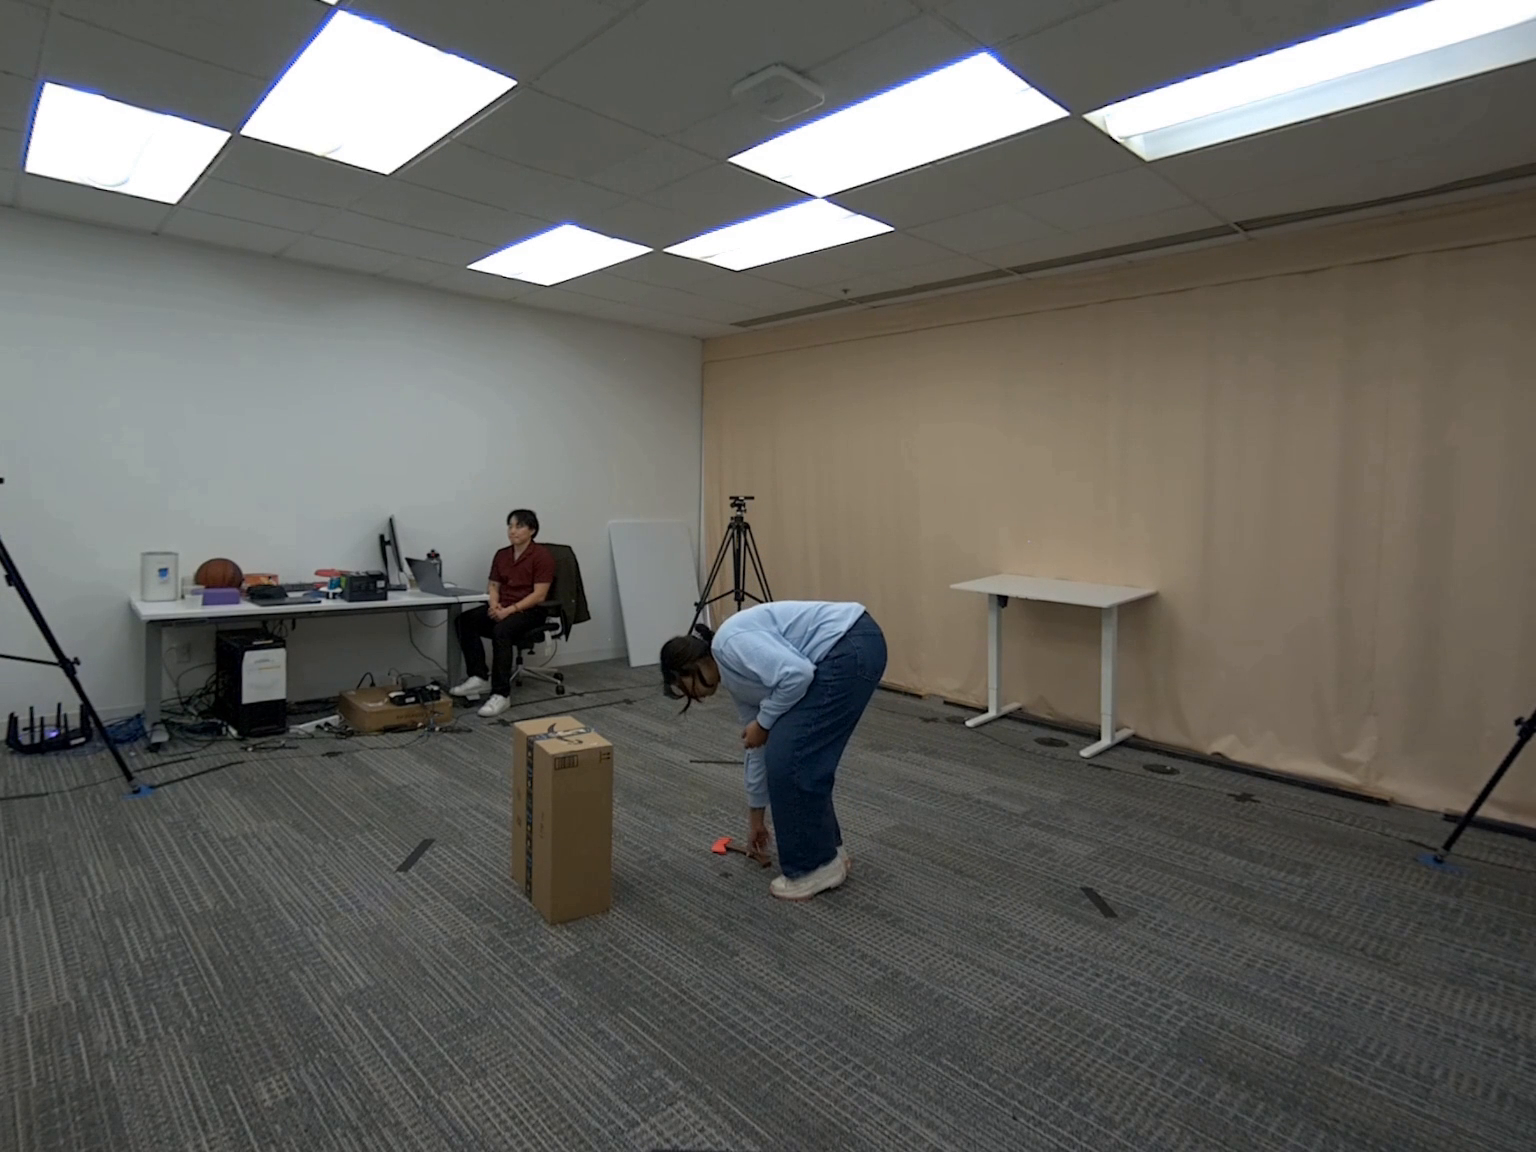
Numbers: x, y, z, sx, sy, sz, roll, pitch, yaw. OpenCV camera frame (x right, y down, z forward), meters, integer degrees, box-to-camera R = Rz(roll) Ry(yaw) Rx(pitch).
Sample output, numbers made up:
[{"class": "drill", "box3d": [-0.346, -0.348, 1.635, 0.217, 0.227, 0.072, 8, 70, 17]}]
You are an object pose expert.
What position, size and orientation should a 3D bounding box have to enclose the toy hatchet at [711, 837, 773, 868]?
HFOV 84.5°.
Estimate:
[{"class": "toy hatchet", "box3d": [-0.124, 1.073, 3.258, 0.128, 0.029, 0.277, -3, 8, -37]}]
